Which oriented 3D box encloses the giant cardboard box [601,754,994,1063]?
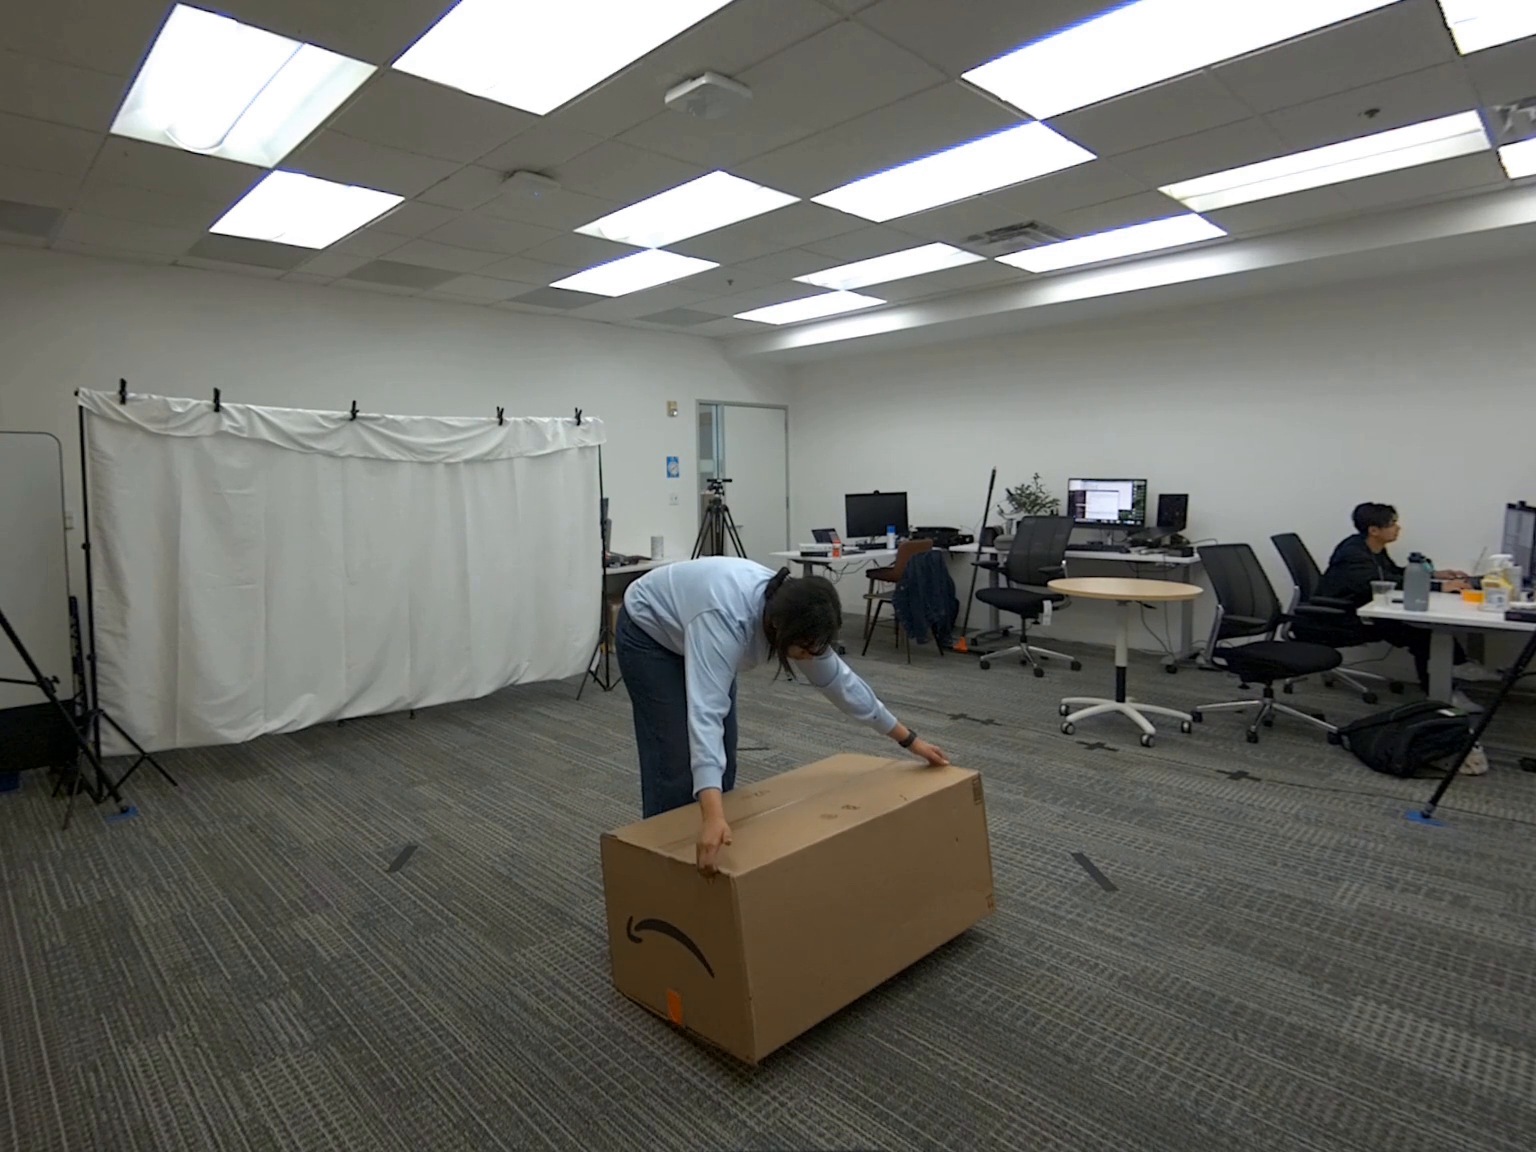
[{"bbox_3d":[0.114,0.869,2.484,0.999,0.426,0.592,-6,1,-42],"label":"giant cardboard box"}]
